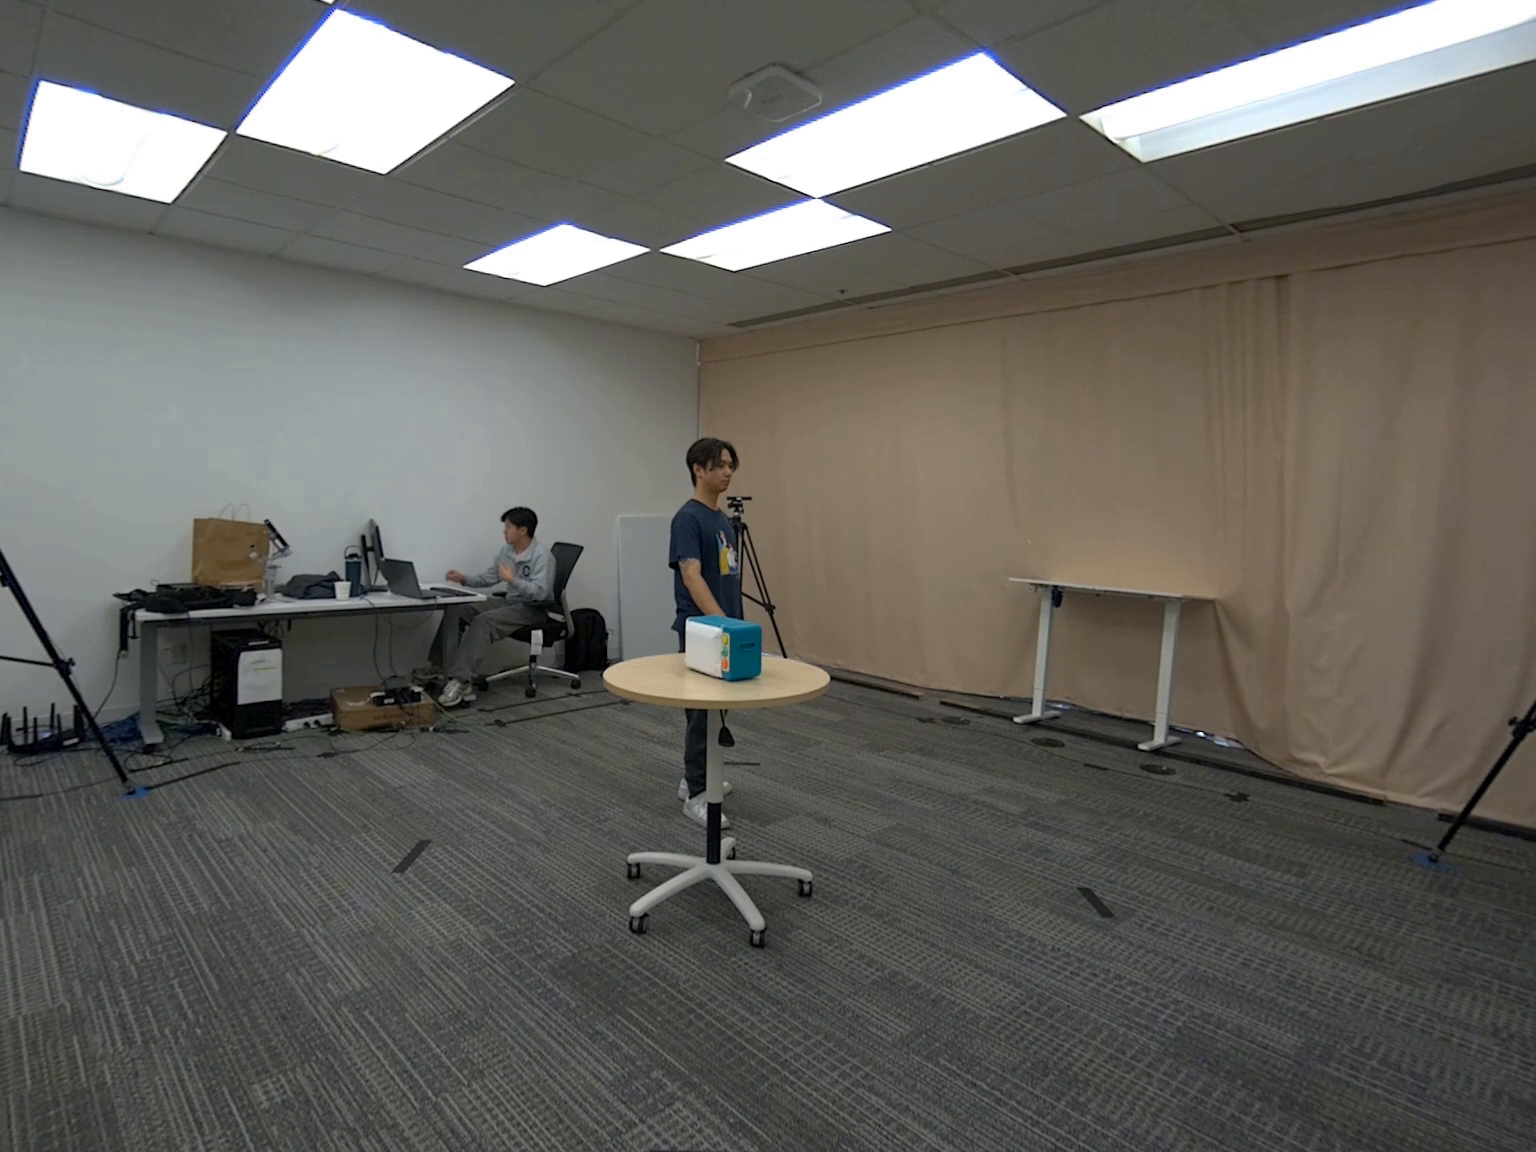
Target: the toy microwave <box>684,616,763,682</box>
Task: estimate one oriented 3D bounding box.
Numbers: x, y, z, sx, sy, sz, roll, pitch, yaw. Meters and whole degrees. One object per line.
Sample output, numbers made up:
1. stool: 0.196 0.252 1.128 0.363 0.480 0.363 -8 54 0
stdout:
1. toy microwave: -0.166 0.247 2.834 0.149 0.184 0.293 -2 5 -37
